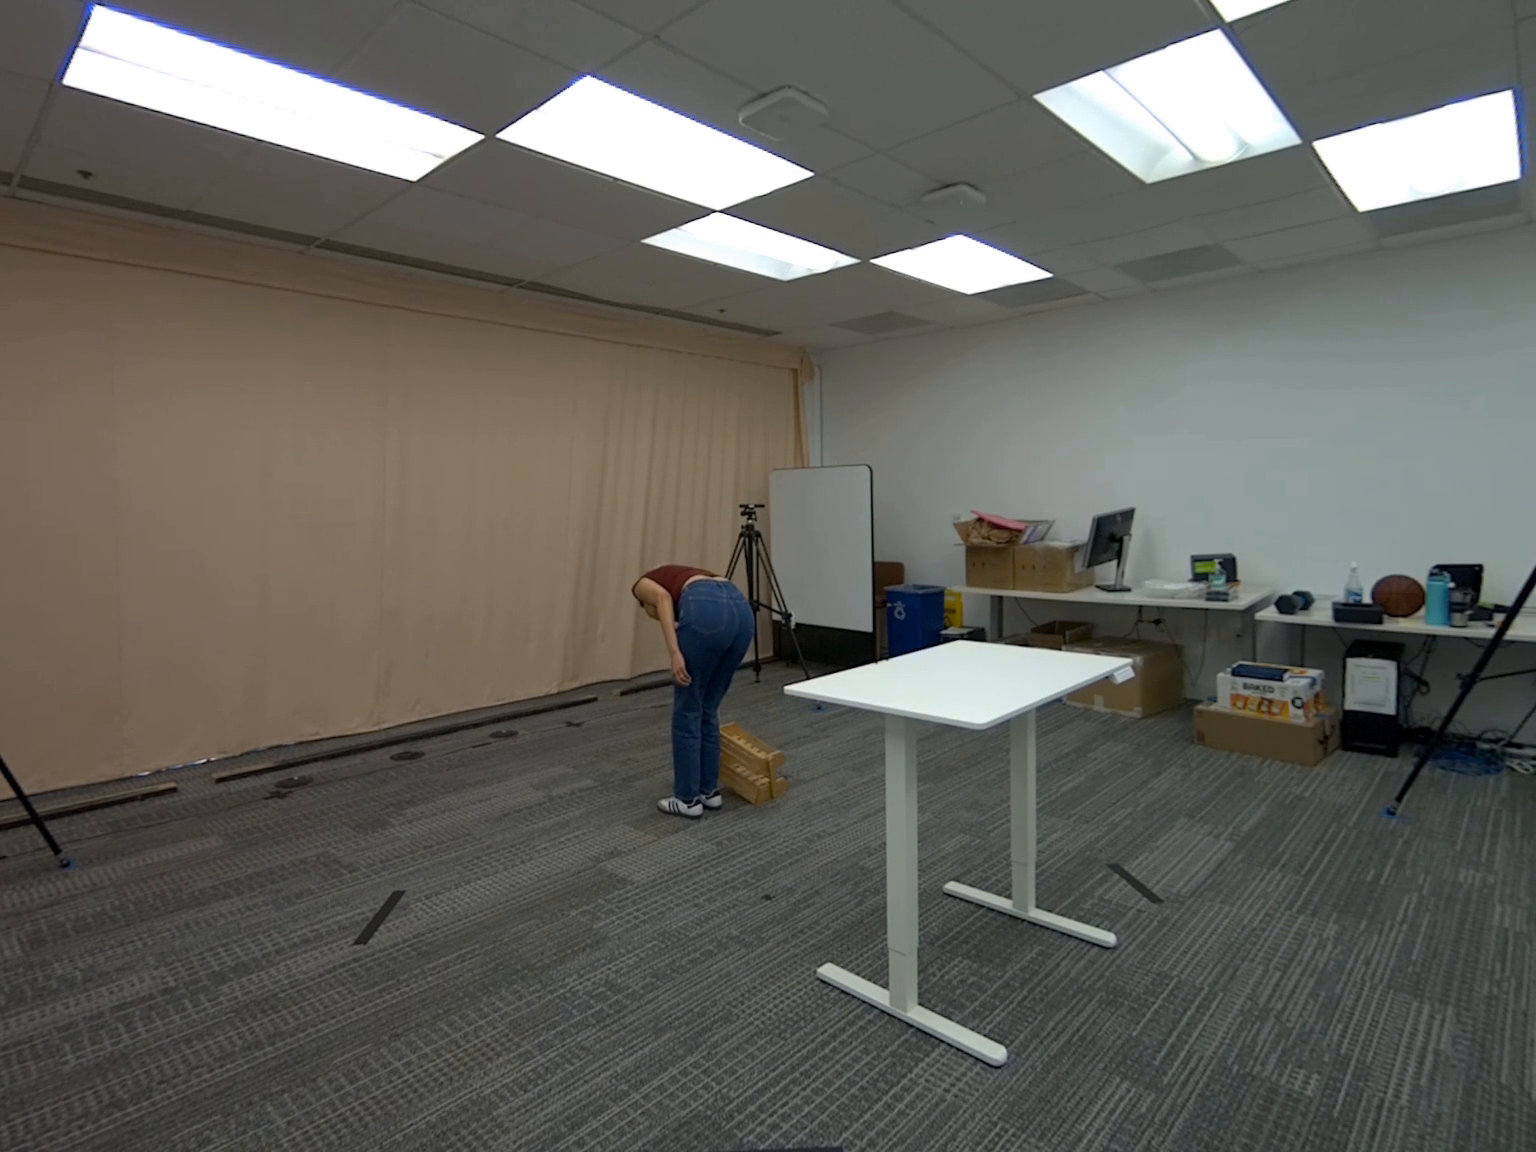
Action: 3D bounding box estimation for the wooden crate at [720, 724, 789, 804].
[{"bbox_3d":[-0.078,0.882,4.043,0.336,0.272,0.293,23,18,35],"label":"wooden crate"}]
